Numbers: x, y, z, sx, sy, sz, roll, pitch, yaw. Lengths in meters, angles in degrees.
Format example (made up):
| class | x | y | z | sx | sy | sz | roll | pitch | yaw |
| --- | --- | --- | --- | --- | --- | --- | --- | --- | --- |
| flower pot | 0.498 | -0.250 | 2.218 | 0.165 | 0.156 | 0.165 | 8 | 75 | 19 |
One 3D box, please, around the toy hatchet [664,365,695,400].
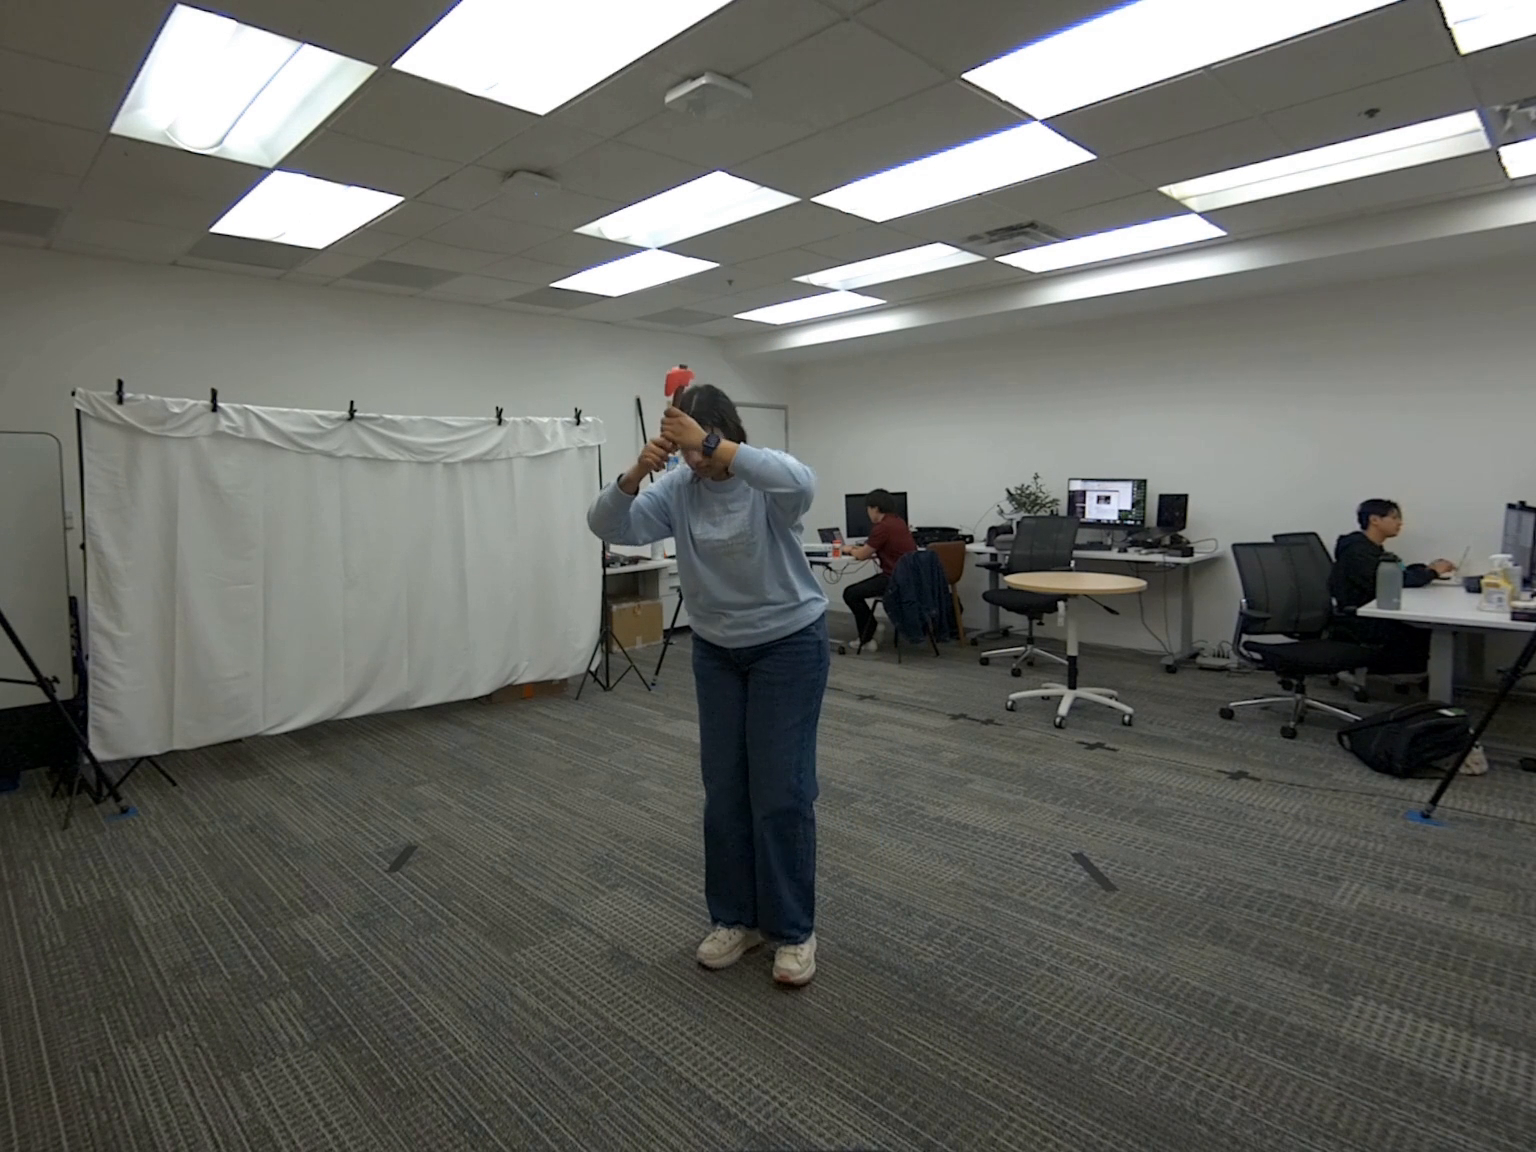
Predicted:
| class | x | y | z | sx | sy | sz | roll | pitch | yaw |
| --- | --- | --- | --- | --- | --- | --- | --- | --- | --- |
| toy hatchet | -0.241 | -0.393 | 2.100 | 0.030 | 0.271 | 0.128 | 14 | -5 | 11 |
